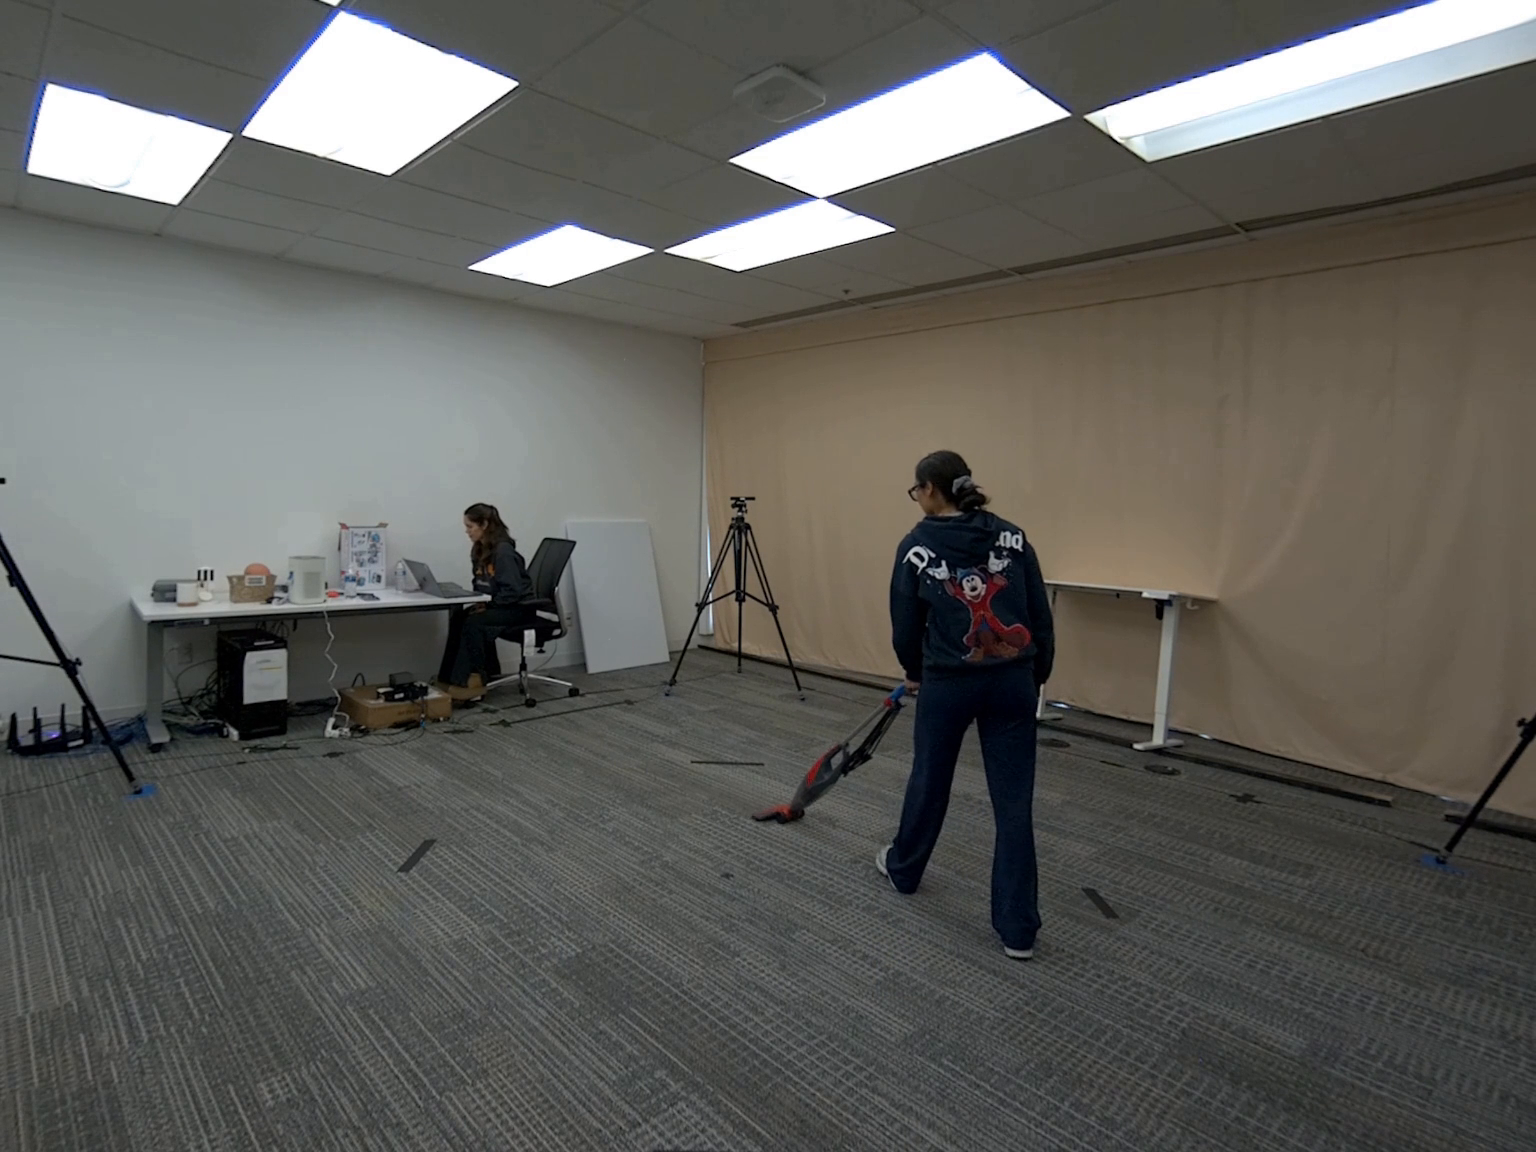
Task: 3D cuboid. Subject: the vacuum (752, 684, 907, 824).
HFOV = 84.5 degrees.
[{"bbox_3d":[0.299,0.722,3.405,0.247,0.148,1.046,-3,-37,-41],"label":"vacuum"}]
